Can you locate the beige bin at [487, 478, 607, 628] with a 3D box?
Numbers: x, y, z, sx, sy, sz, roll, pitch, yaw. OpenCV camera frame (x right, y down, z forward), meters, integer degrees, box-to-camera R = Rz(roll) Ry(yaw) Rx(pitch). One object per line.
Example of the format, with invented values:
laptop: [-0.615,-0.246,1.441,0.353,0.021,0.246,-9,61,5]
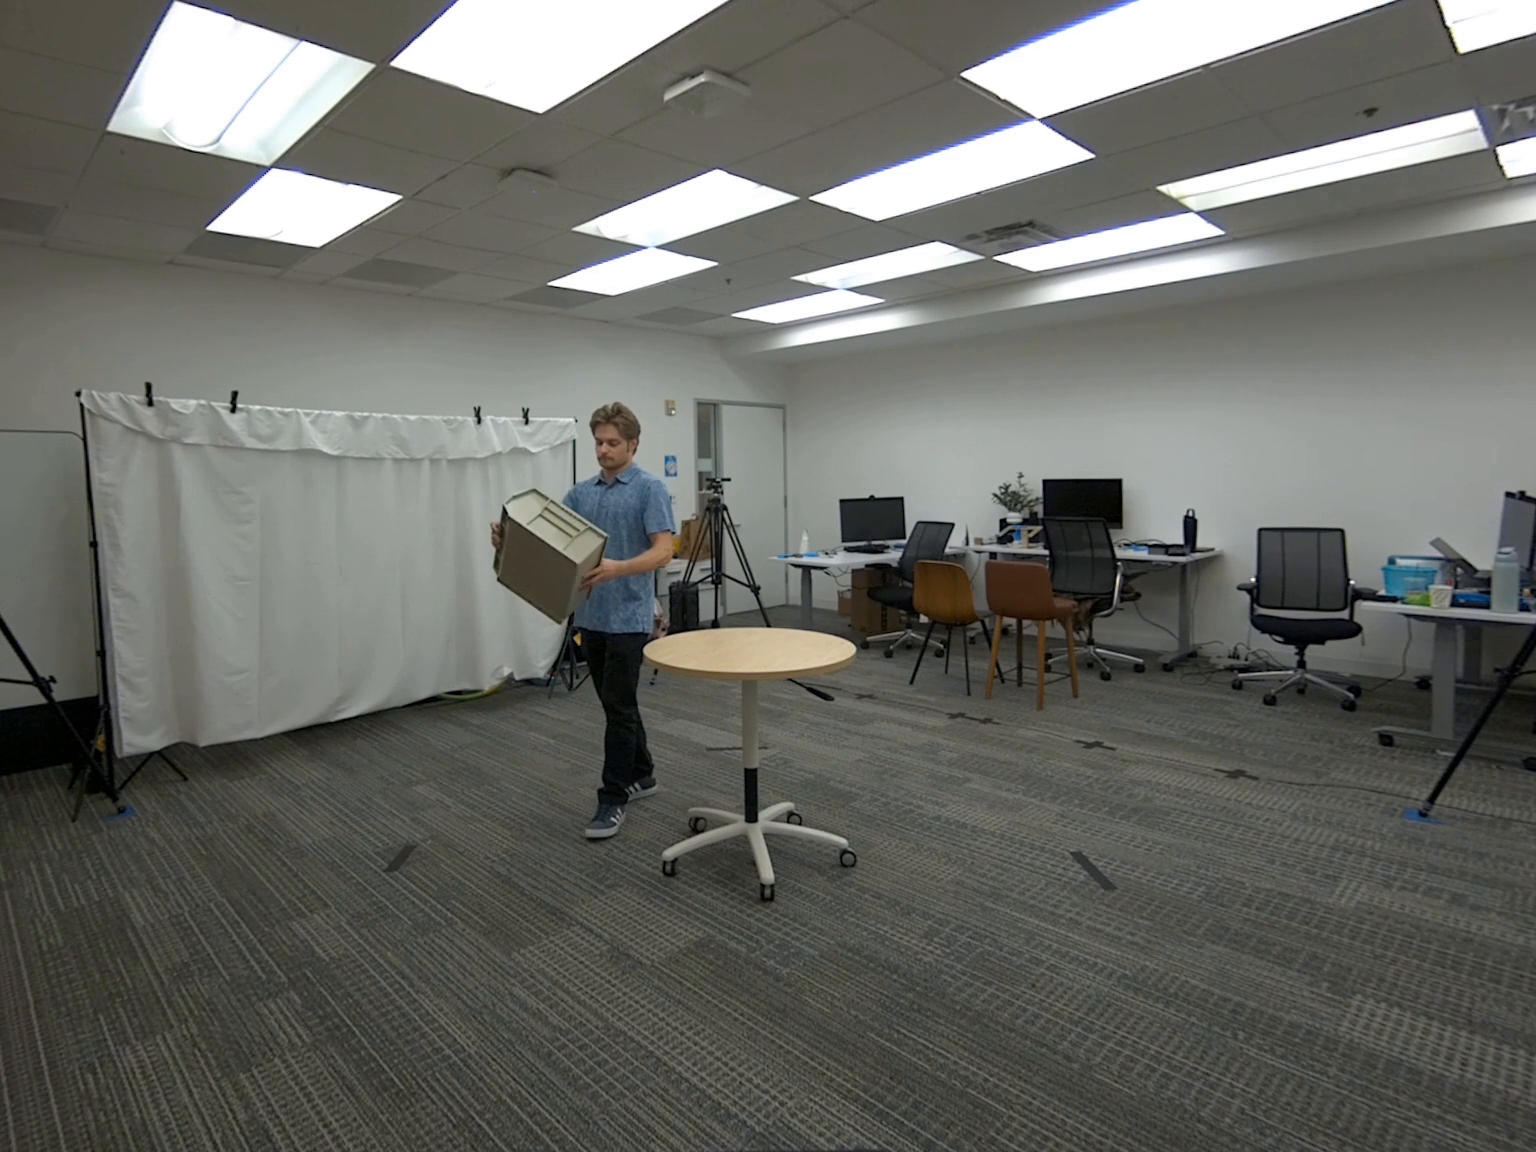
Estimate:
beige bin: [-0.839,-0.082,3.247,0.381,0.417,0.189,33,49,6]
